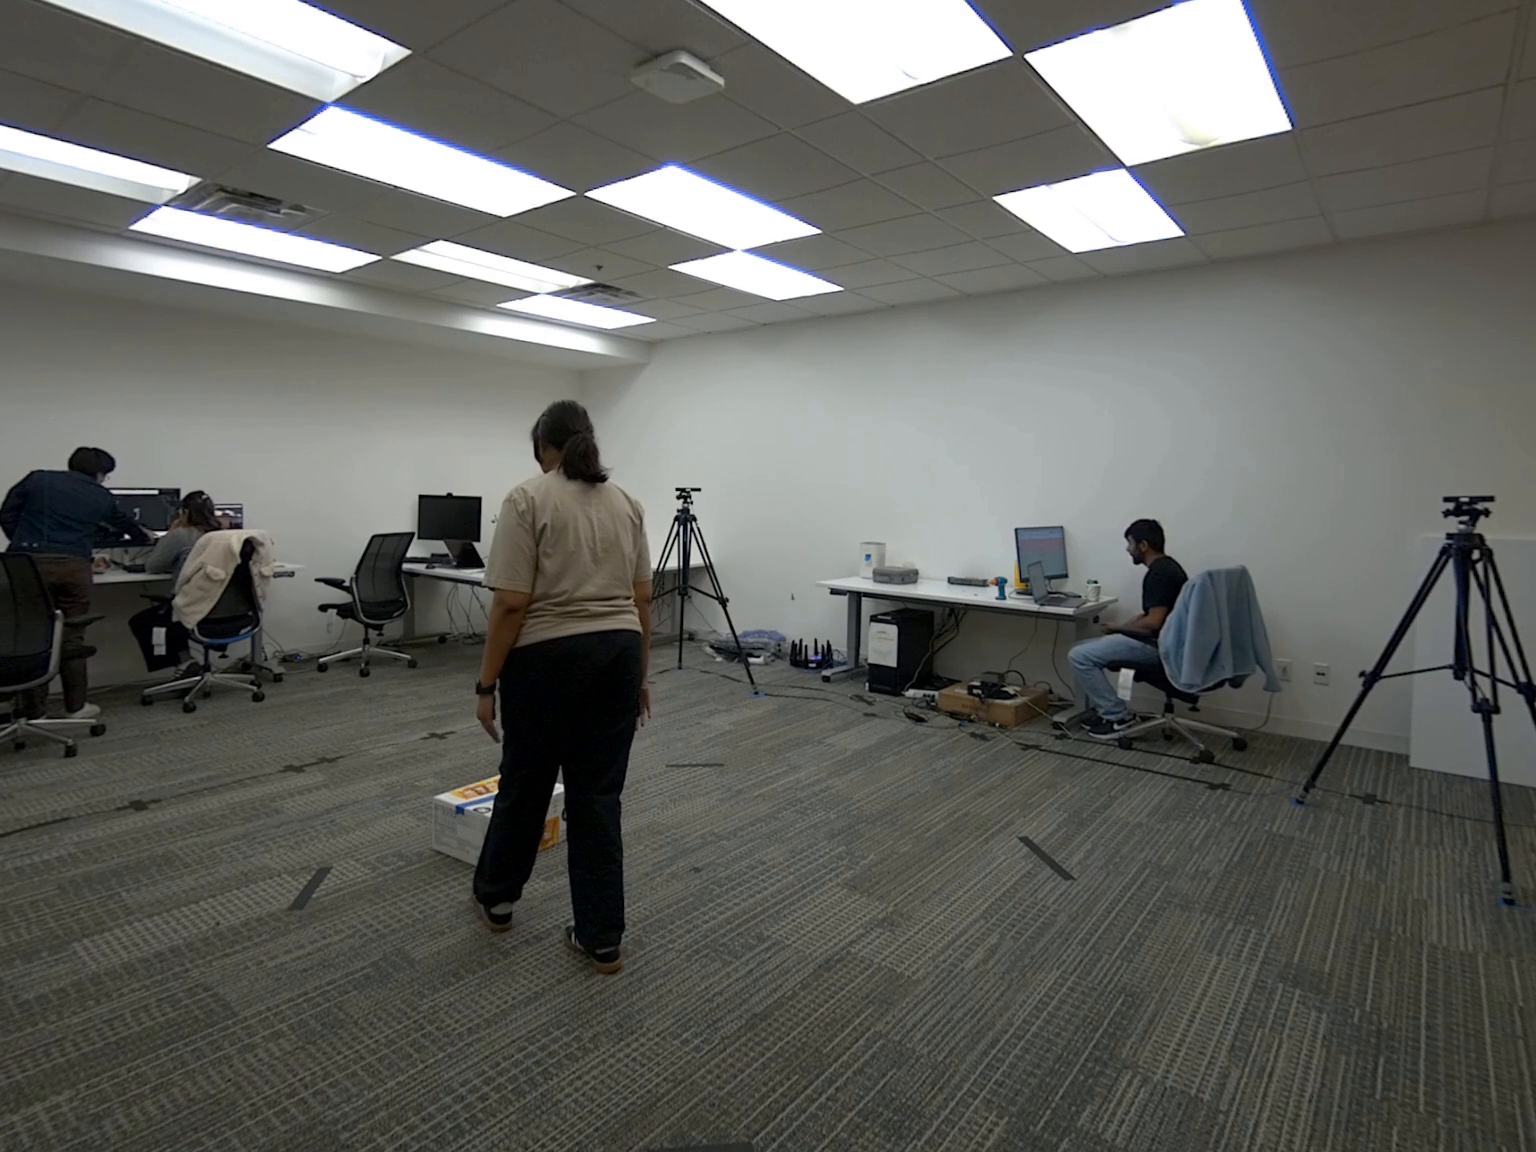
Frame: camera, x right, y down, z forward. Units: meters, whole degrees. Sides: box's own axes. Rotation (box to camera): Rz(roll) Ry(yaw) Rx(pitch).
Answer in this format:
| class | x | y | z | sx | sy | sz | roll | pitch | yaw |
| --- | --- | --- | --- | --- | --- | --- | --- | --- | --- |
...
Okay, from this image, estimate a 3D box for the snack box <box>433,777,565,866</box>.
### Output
| class | x | y | z | sx | sy | sz | roll | pitch | yaw |
| --- | --- | --- | --- | --- | --- | --- | --- | --- | --- |
| snack box | -1.041 | 0.938 | 3.298 | 0.351 | 0.205 | 0.394 | 4 | 5 | 33 |
